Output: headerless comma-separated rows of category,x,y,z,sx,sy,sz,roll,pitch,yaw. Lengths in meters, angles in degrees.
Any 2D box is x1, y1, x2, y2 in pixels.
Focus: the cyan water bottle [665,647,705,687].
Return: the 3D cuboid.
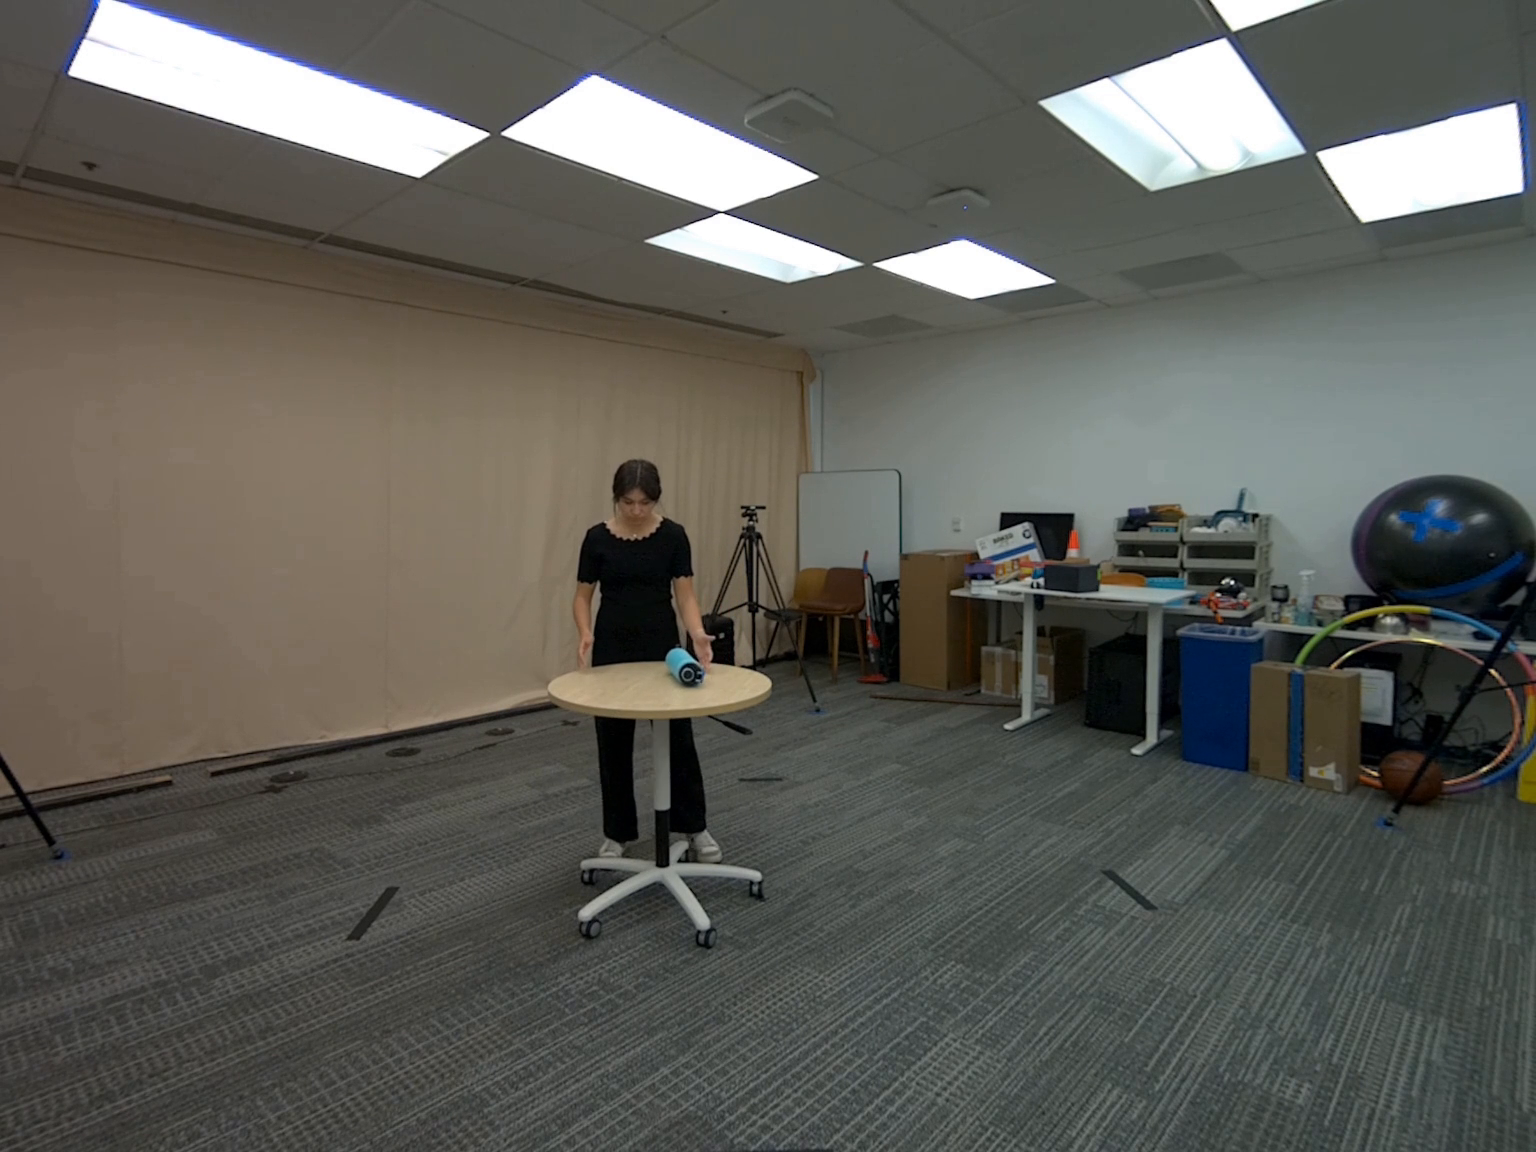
cyan water bottle,-0.290,0.319,2.938,0.091,0.092,0.288,-1,7,-15
